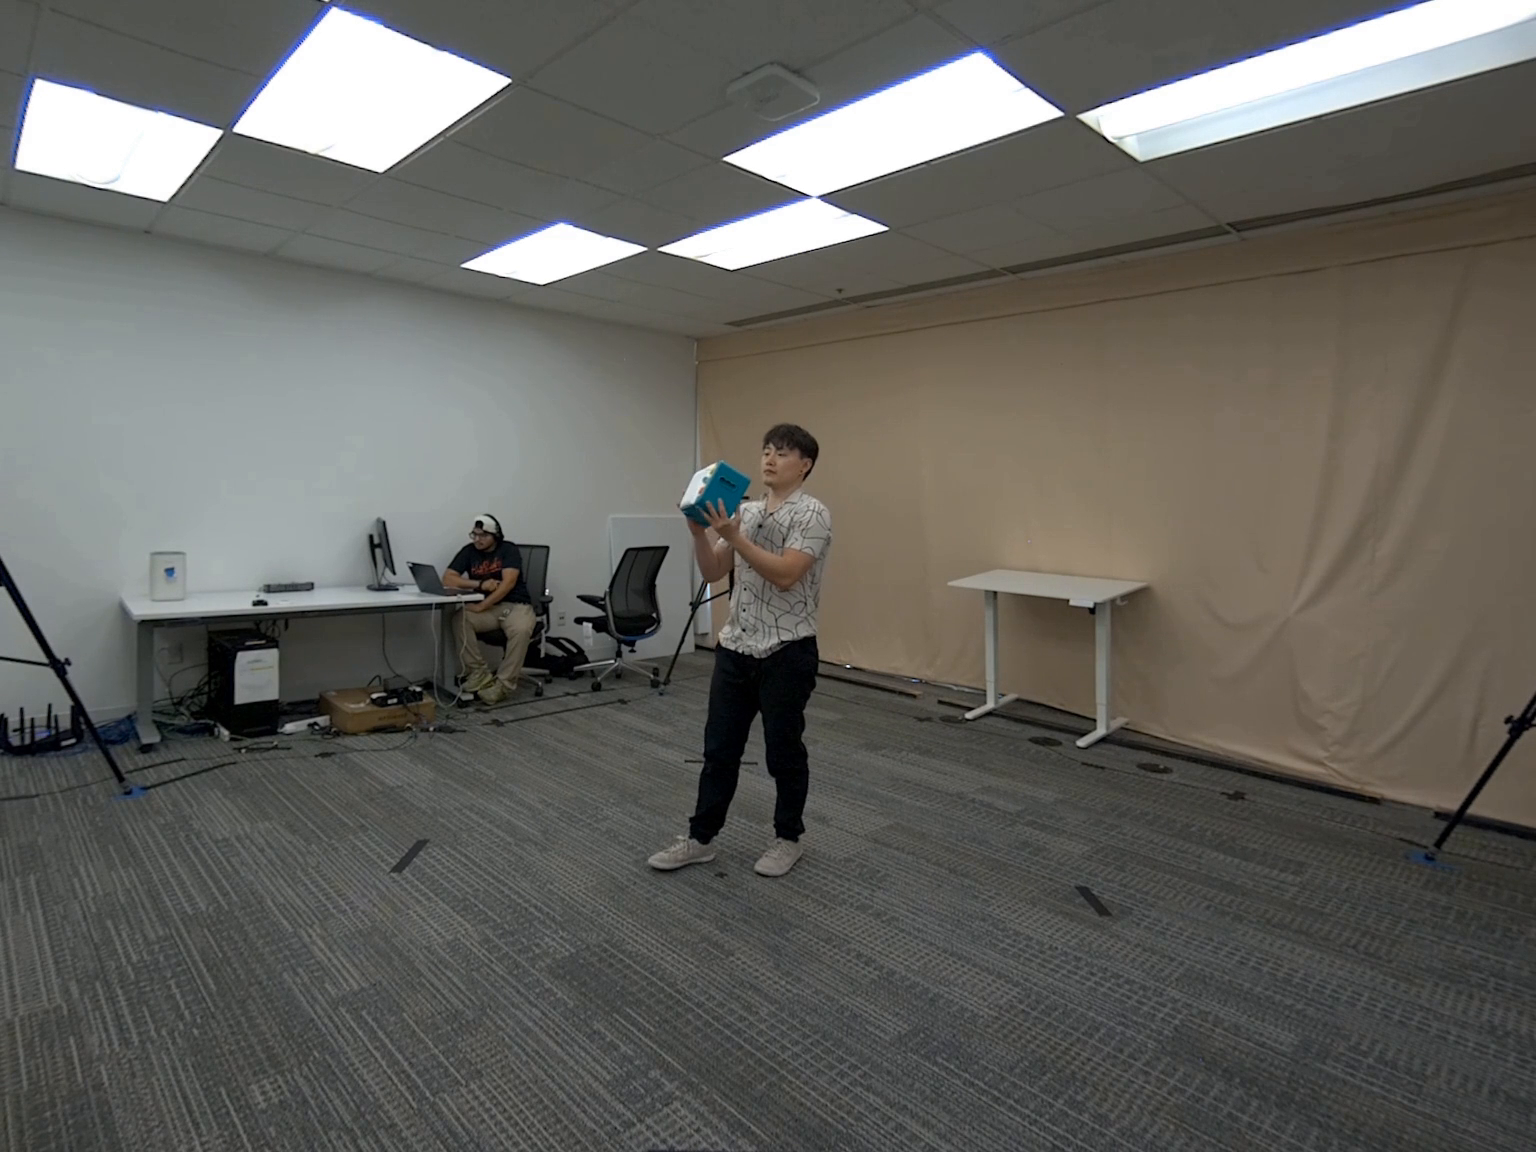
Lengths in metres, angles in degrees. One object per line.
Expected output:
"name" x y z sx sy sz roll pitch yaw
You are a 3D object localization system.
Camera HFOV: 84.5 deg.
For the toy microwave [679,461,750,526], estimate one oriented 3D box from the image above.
"toy microwave" -0.204 -0.289 2.963 0.150 0.184 0.289 31 -10 -15
